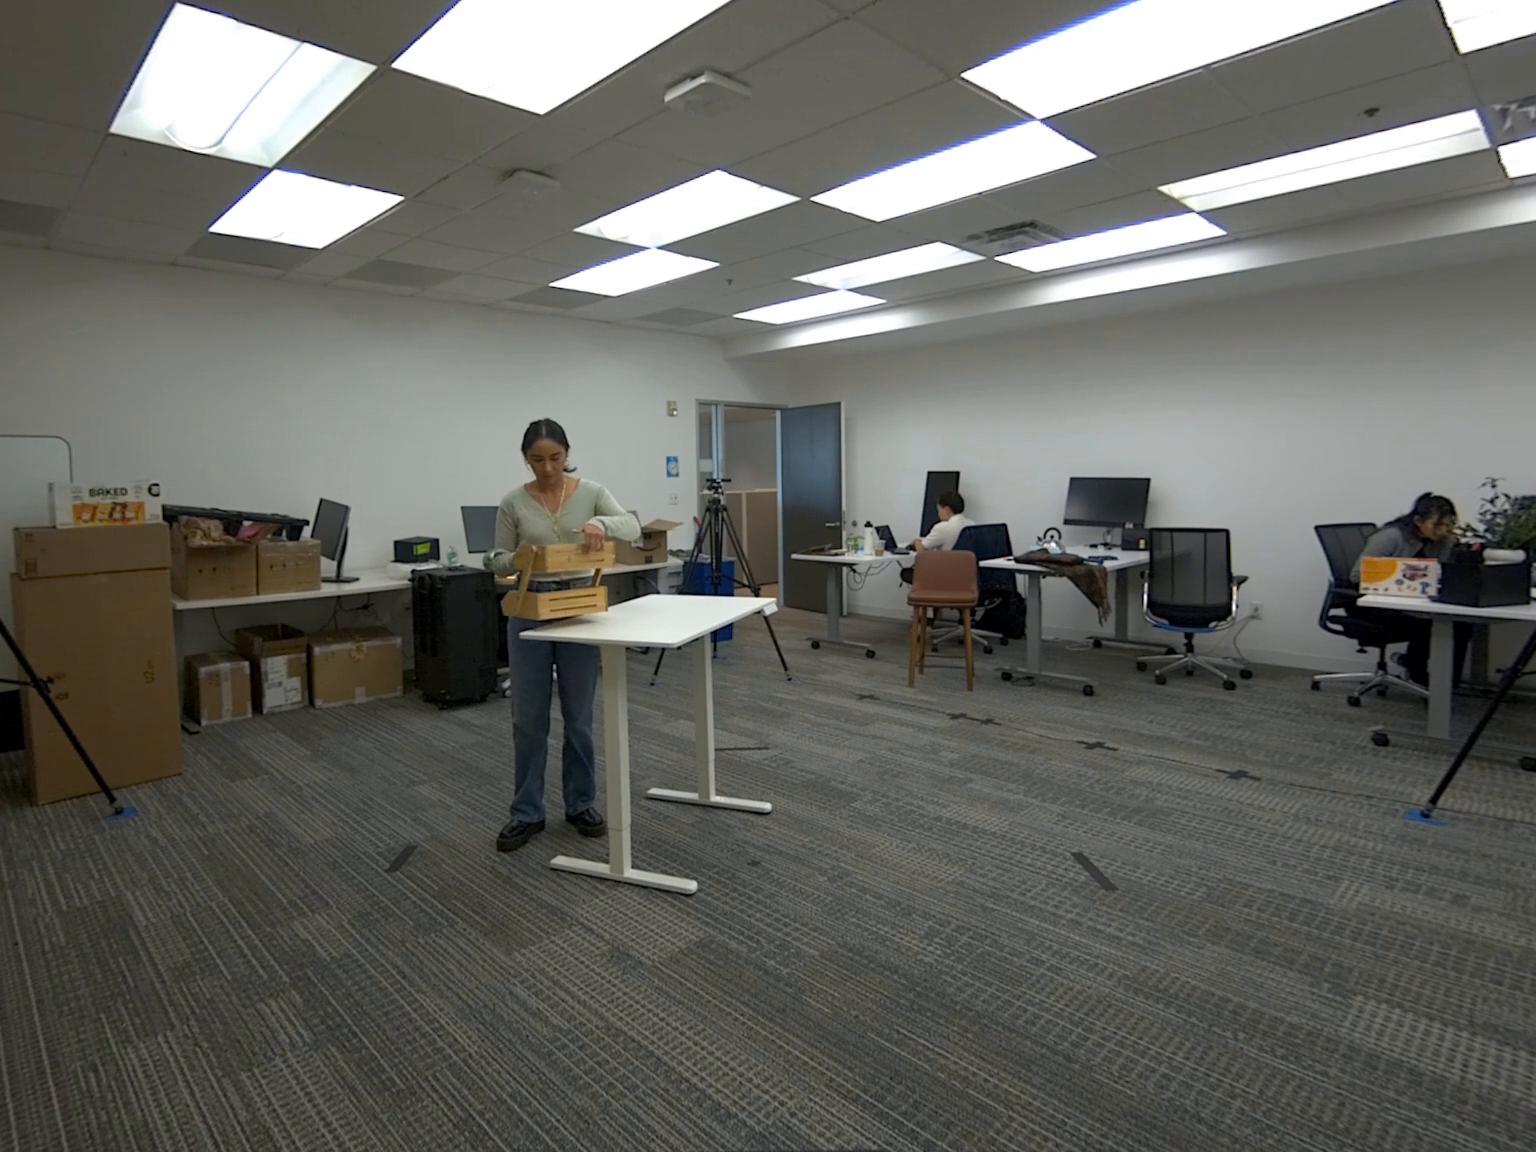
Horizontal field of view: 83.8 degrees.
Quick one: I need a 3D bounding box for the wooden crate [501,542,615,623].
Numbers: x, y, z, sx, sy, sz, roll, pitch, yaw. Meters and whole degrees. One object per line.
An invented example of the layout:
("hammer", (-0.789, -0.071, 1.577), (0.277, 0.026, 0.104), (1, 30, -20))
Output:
("wooden crate", (-0.771, 0.010, 3.117), (0.311, 0.273, 0.316), (2, 4, 44))
